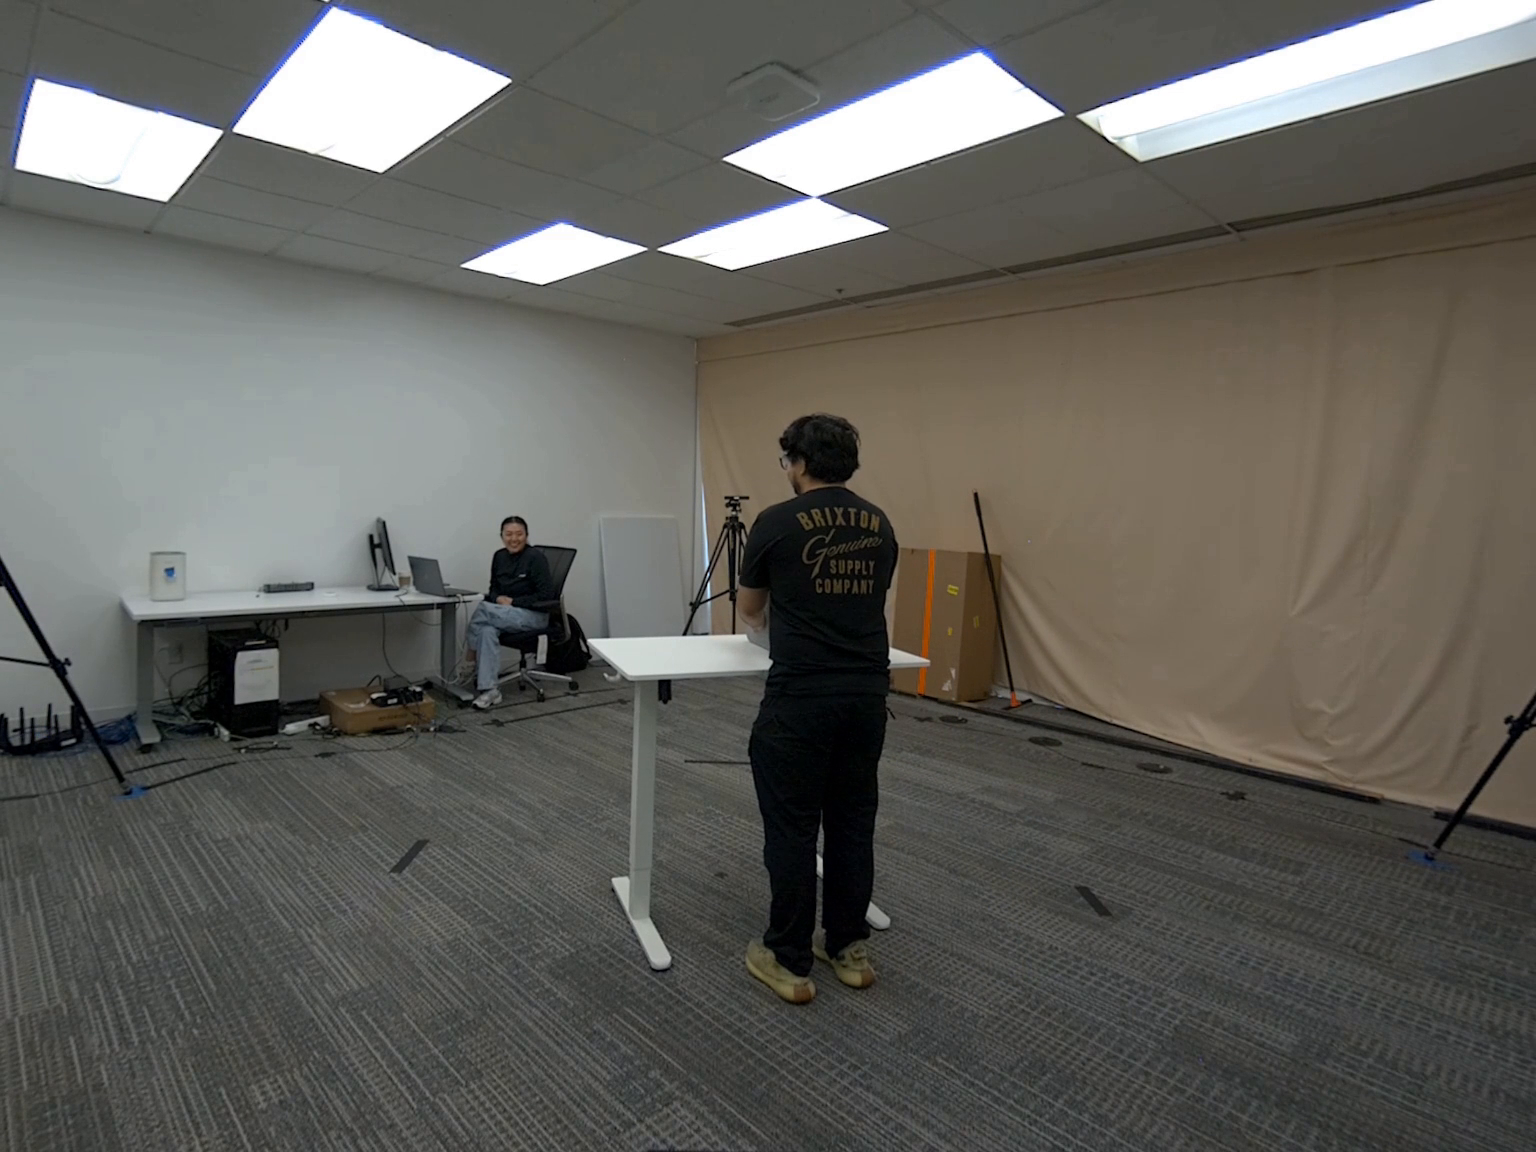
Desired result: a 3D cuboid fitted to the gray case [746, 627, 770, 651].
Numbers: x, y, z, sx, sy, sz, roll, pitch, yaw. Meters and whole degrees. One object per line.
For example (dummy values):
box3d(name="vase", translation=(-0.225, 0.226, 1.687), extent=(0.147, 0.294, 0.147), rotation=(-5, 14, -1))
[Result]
box3d(name="gray case", translation=(-0.007, 0.116, 2.878), extent=(0.103, 0.259, 0.261), rotation=(-11, 8, -18))
